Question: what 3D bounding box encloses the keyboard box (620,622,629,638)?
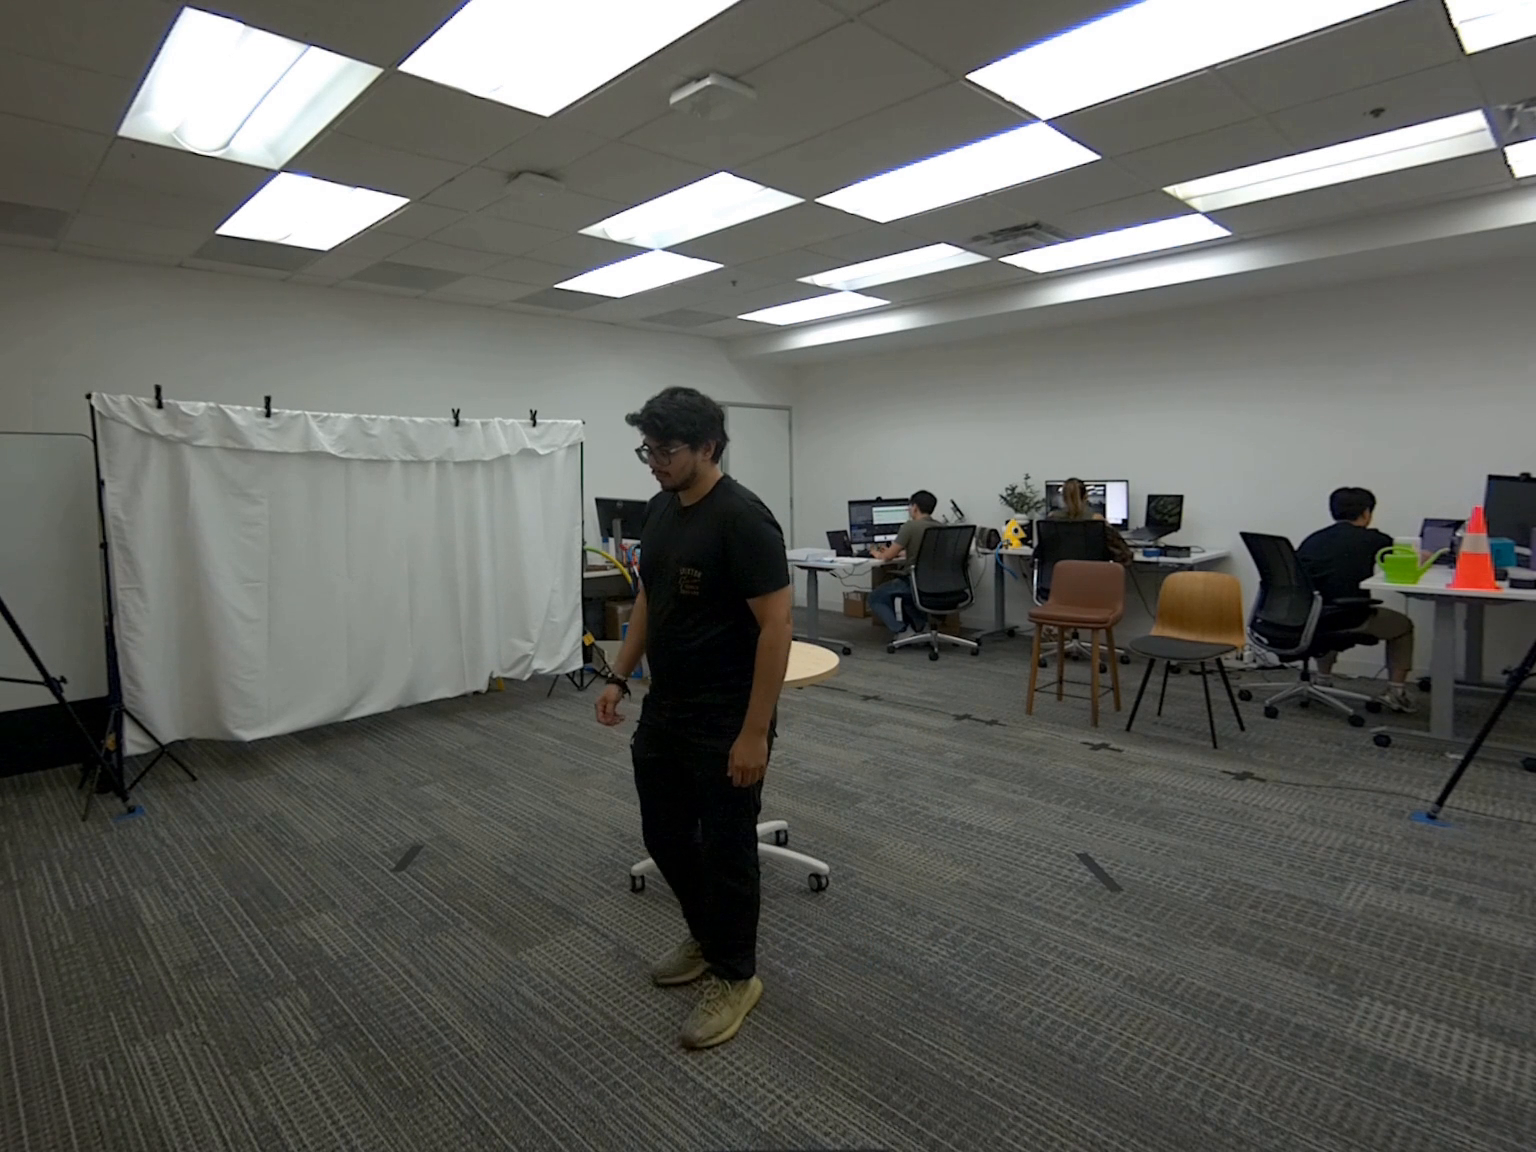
[{"bbox_3d":[-0.328,0.213,2.836,0.060,0.176,0.429,-6,3,24],"label":"keyboard box"}]
